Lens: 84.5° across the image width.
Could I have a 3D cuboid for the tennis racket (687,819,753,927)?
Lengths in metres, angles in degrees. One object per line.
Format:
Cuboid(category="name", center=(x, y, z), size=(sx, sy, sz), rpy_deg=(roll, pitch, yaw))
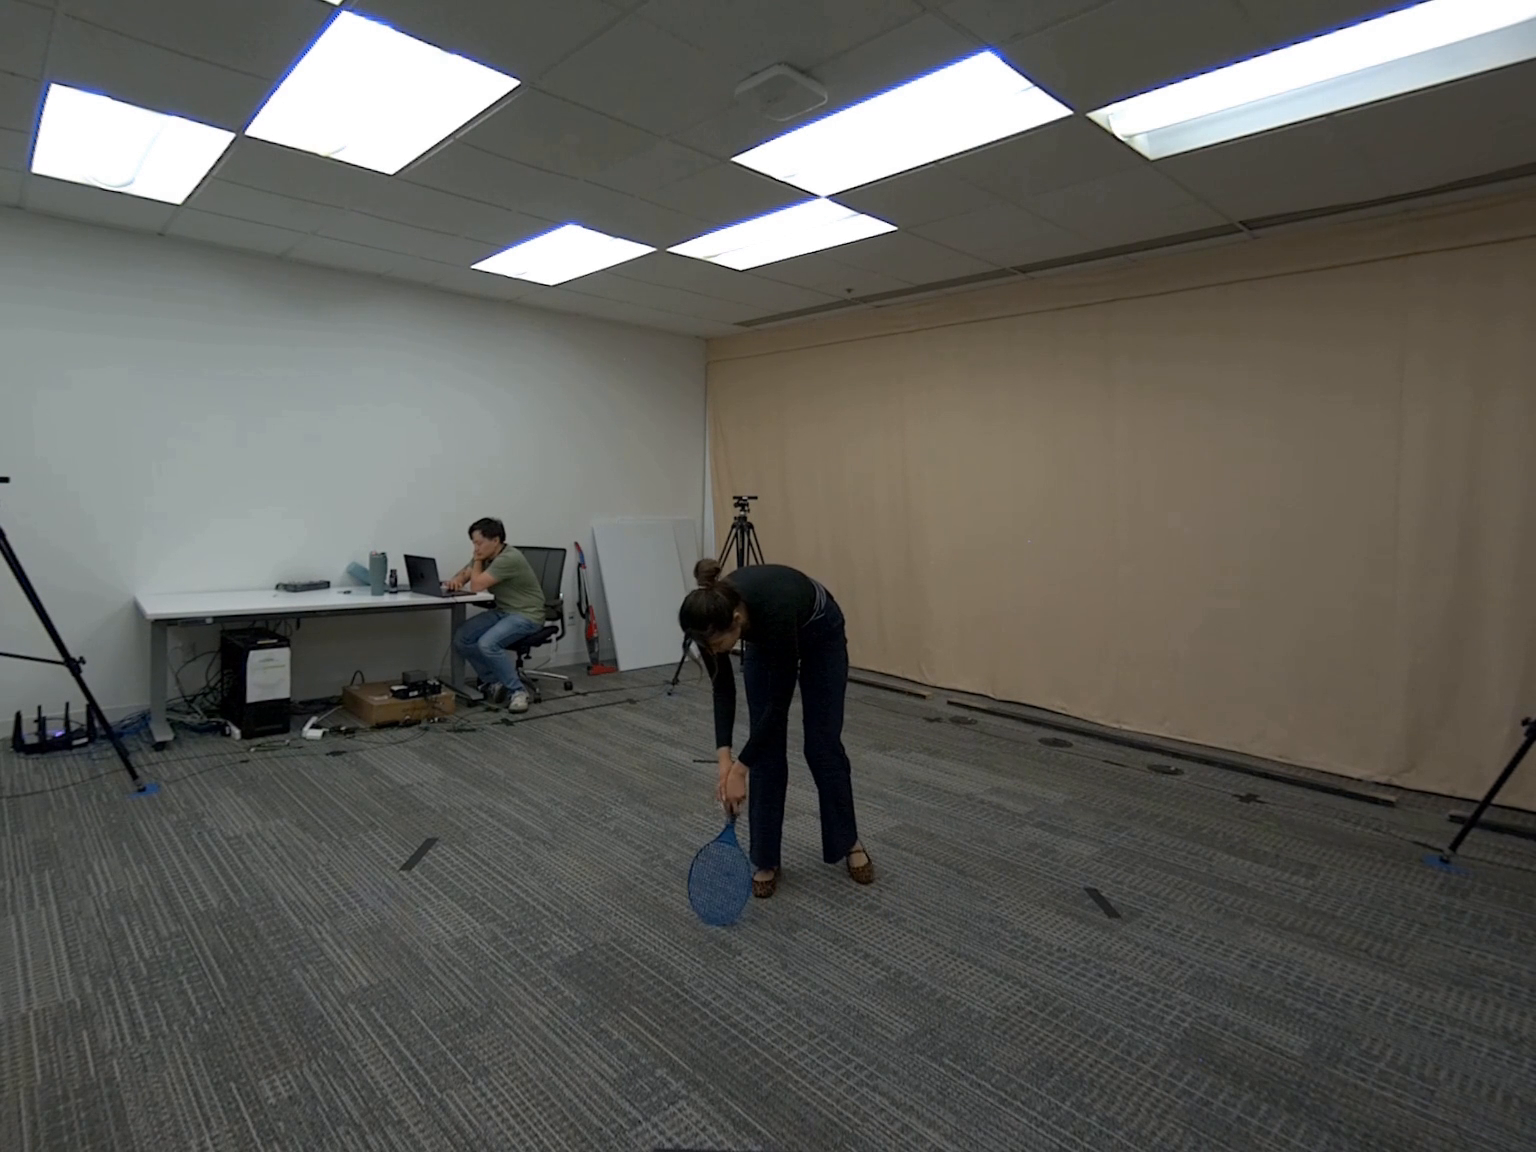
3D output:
Cuboid(category="tennis racket", center=(-0.142, 0.926, 2.773), size=(0.215, 0.434, 0.031), rpy_deg=(14, -8, 7))
